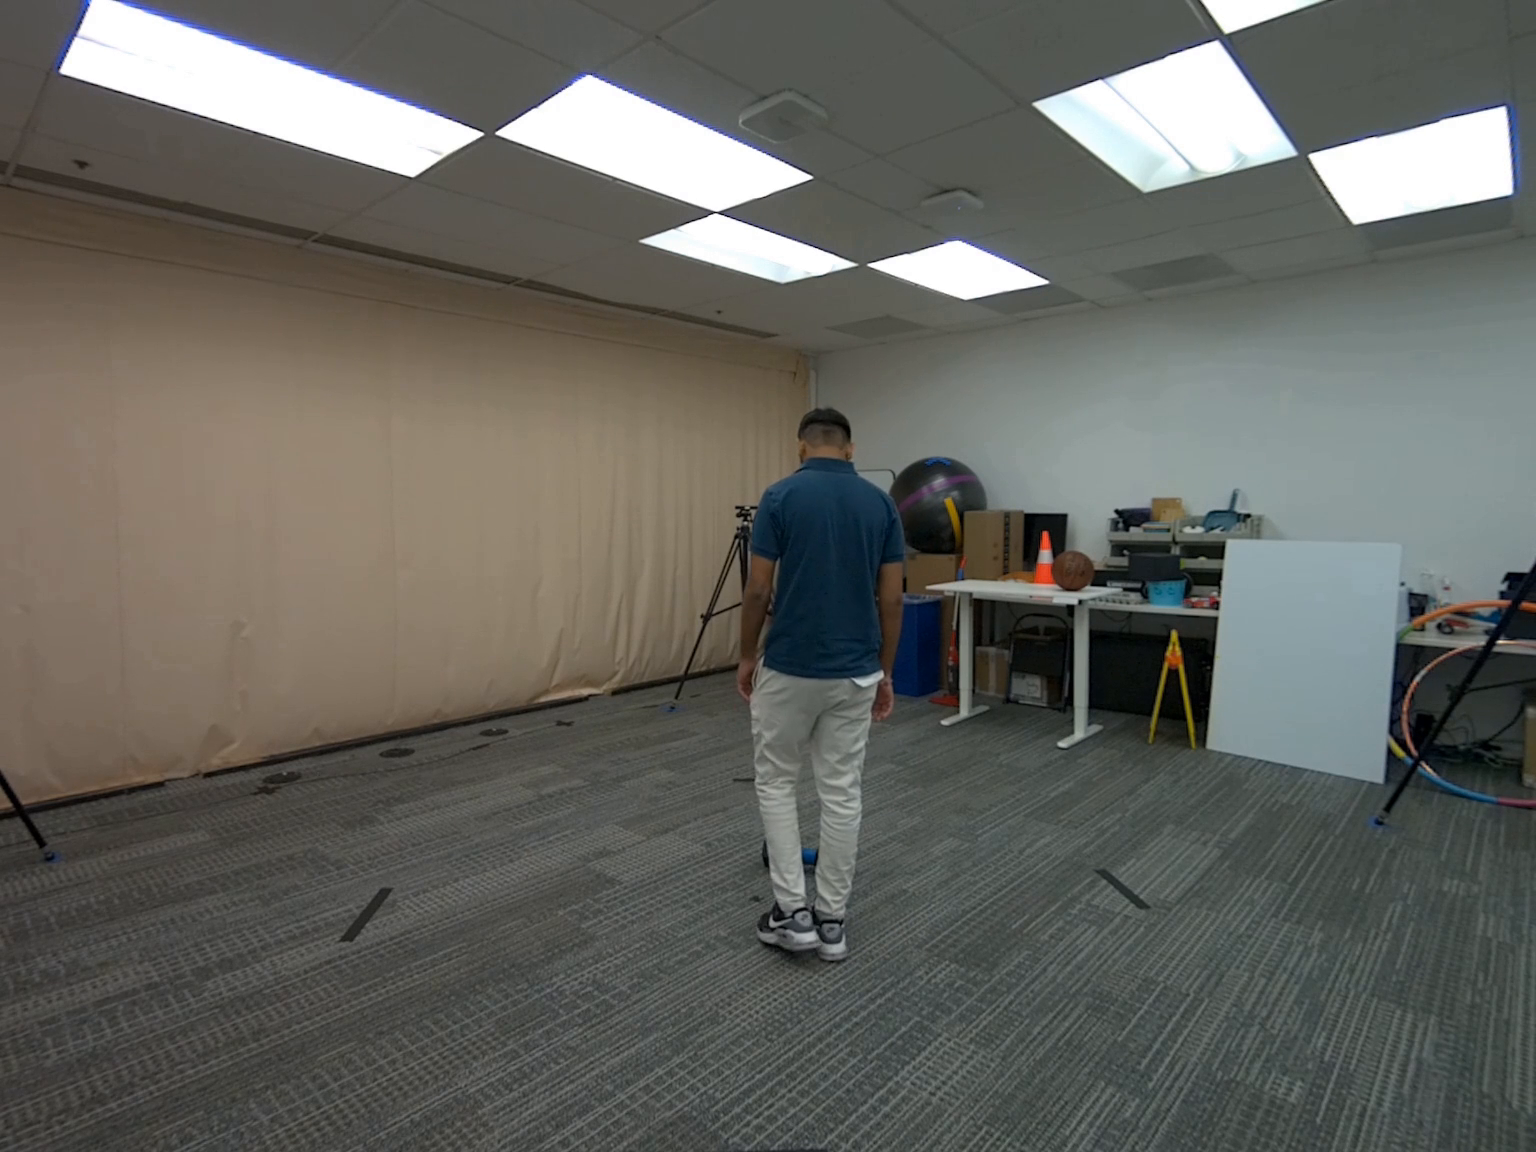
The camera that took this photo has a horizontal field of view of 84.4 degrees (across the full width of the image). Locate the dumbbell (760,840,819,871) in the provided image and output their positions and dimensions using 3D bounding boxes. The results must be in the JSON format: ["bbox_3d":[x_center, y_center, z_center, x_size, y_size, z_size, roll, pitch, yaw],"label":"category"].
[{"bbox_3d":[0.136,1.071,3.213,0.300,0.124,0.105,2,-26,21],"label":"dumbbell"}]
